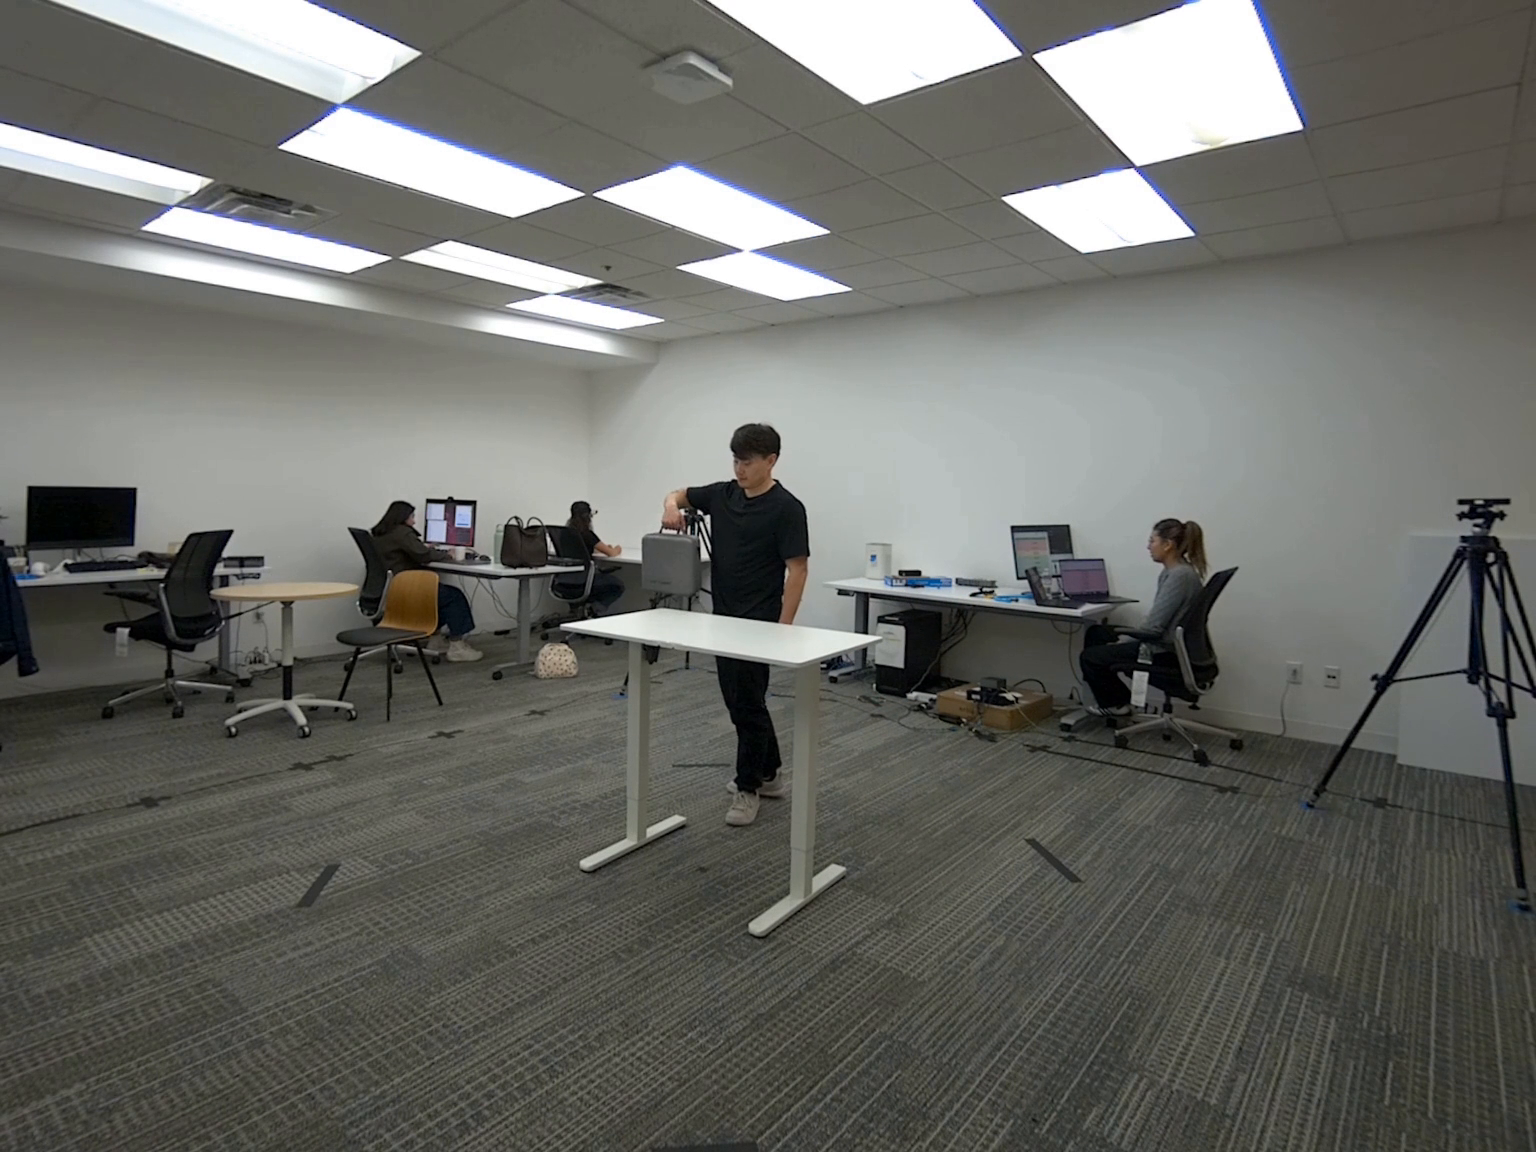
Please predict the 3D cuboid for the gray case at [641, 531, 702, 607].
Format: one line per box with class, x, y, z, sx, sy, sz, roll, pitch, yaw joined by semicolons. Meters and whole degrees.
gray case;-0.431;-0.055;3.643;0.264;0.258;0.102;5;11;25
